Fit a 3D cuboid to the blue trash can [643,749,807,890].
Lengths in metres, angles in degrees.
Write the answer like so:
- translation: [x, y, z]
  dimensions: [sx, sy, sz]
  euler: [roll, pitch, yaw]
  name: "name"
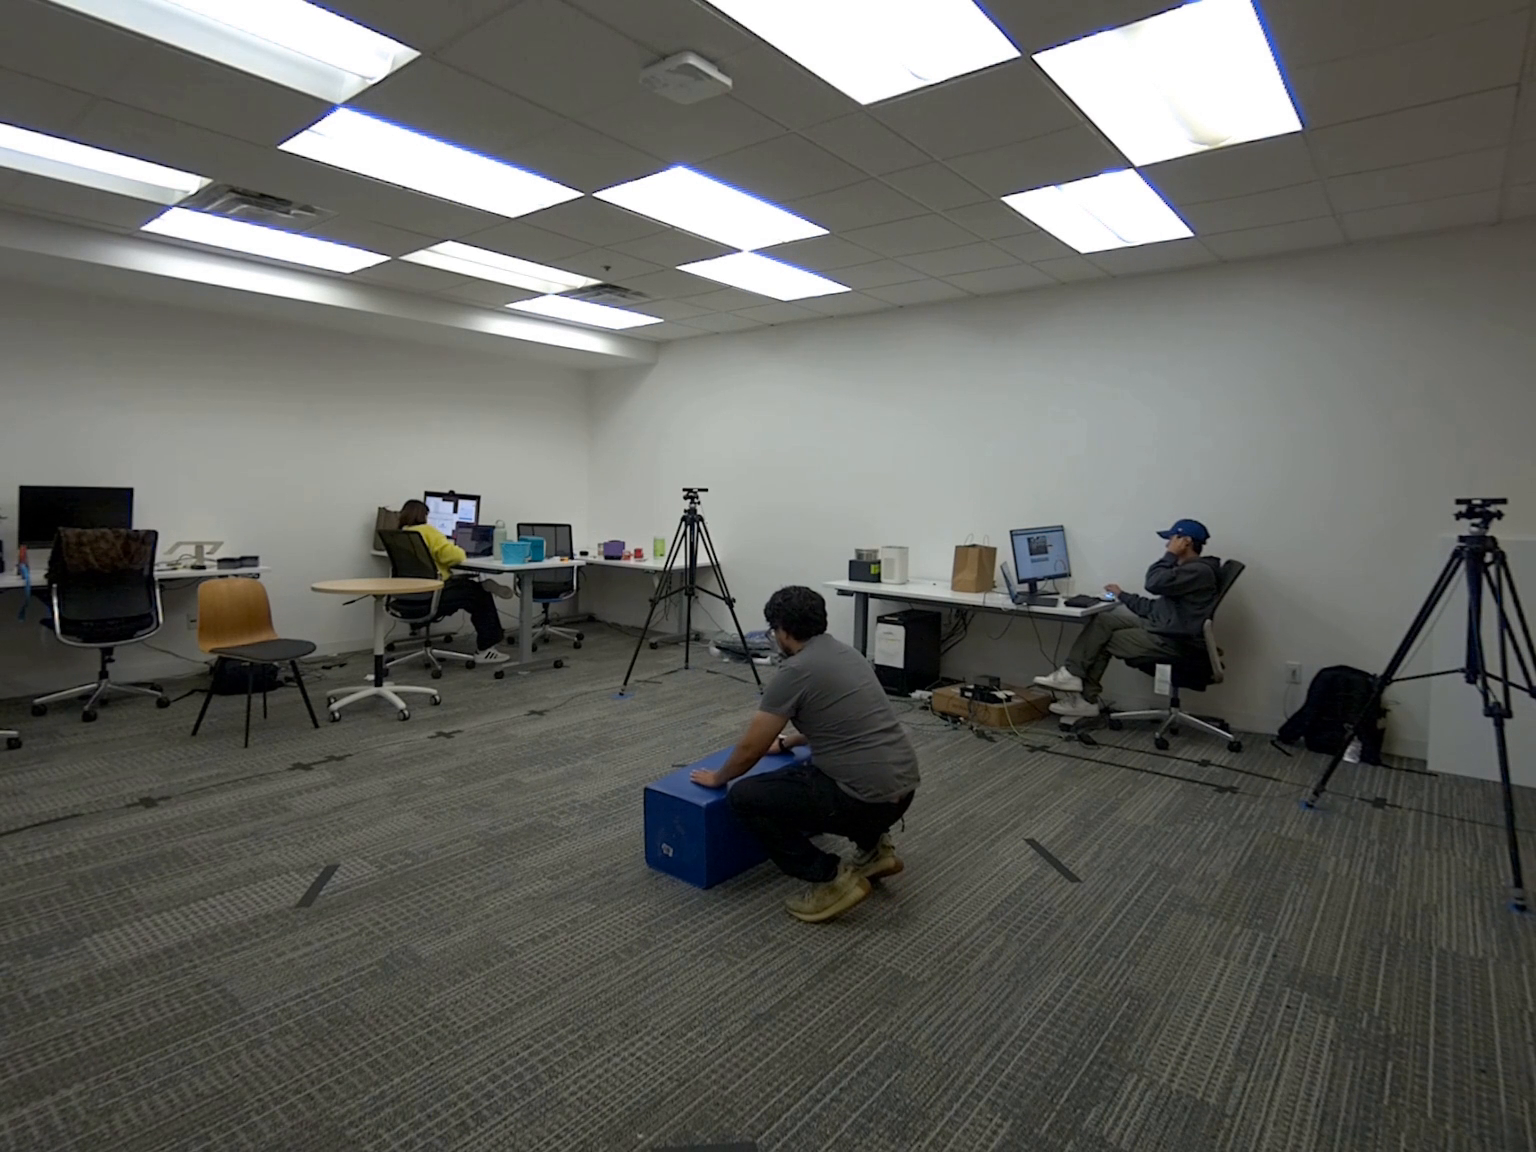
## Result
- translation: [-0.135, 0.881, 3.292]
  dimensions: [0.387, 0.376, 0.694]
  euler: [5, 8, 39]
  name: "blue trash can"
